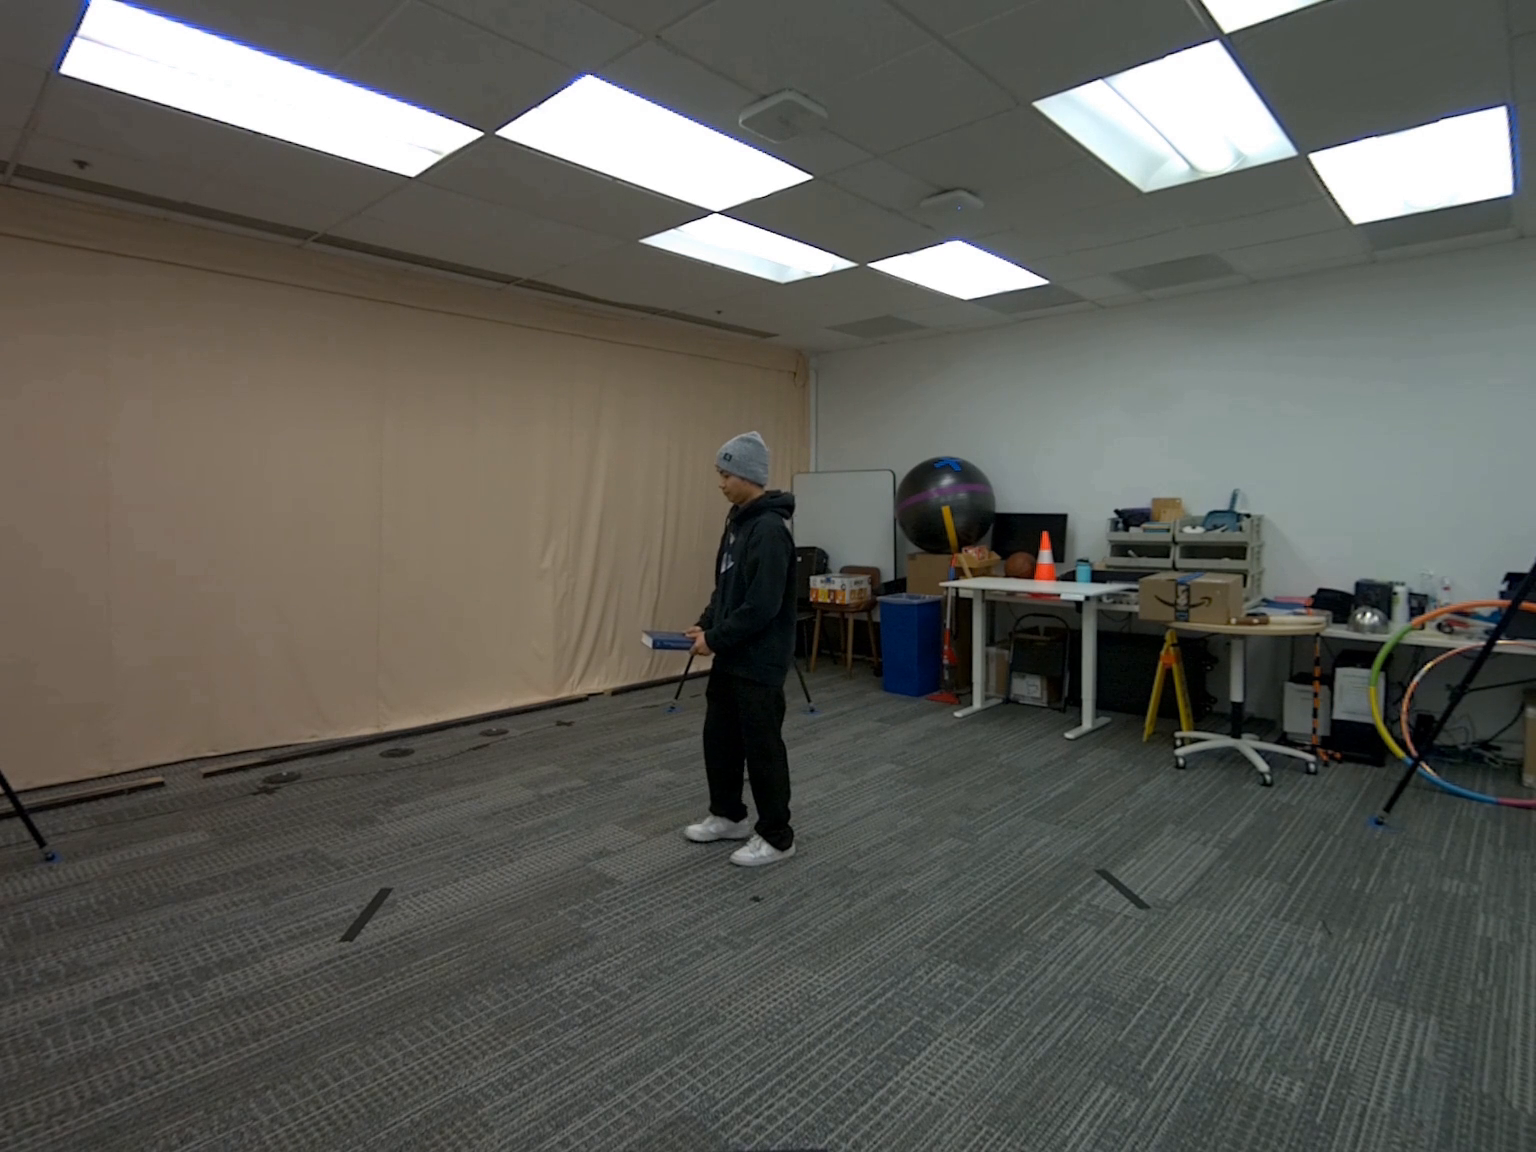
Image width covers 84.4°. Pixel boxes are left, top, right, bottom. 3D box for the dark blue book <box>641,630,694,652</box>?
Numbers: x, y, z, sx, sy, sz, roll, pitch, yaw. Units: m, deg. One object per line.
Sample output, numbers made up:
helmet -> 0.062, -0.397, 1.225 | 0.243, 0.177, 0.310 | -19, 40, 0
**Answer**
dark blue book -> -0.353, 0.253, 3.252 | 0.240, 0.045, 0.167 | 4, 5, -21
